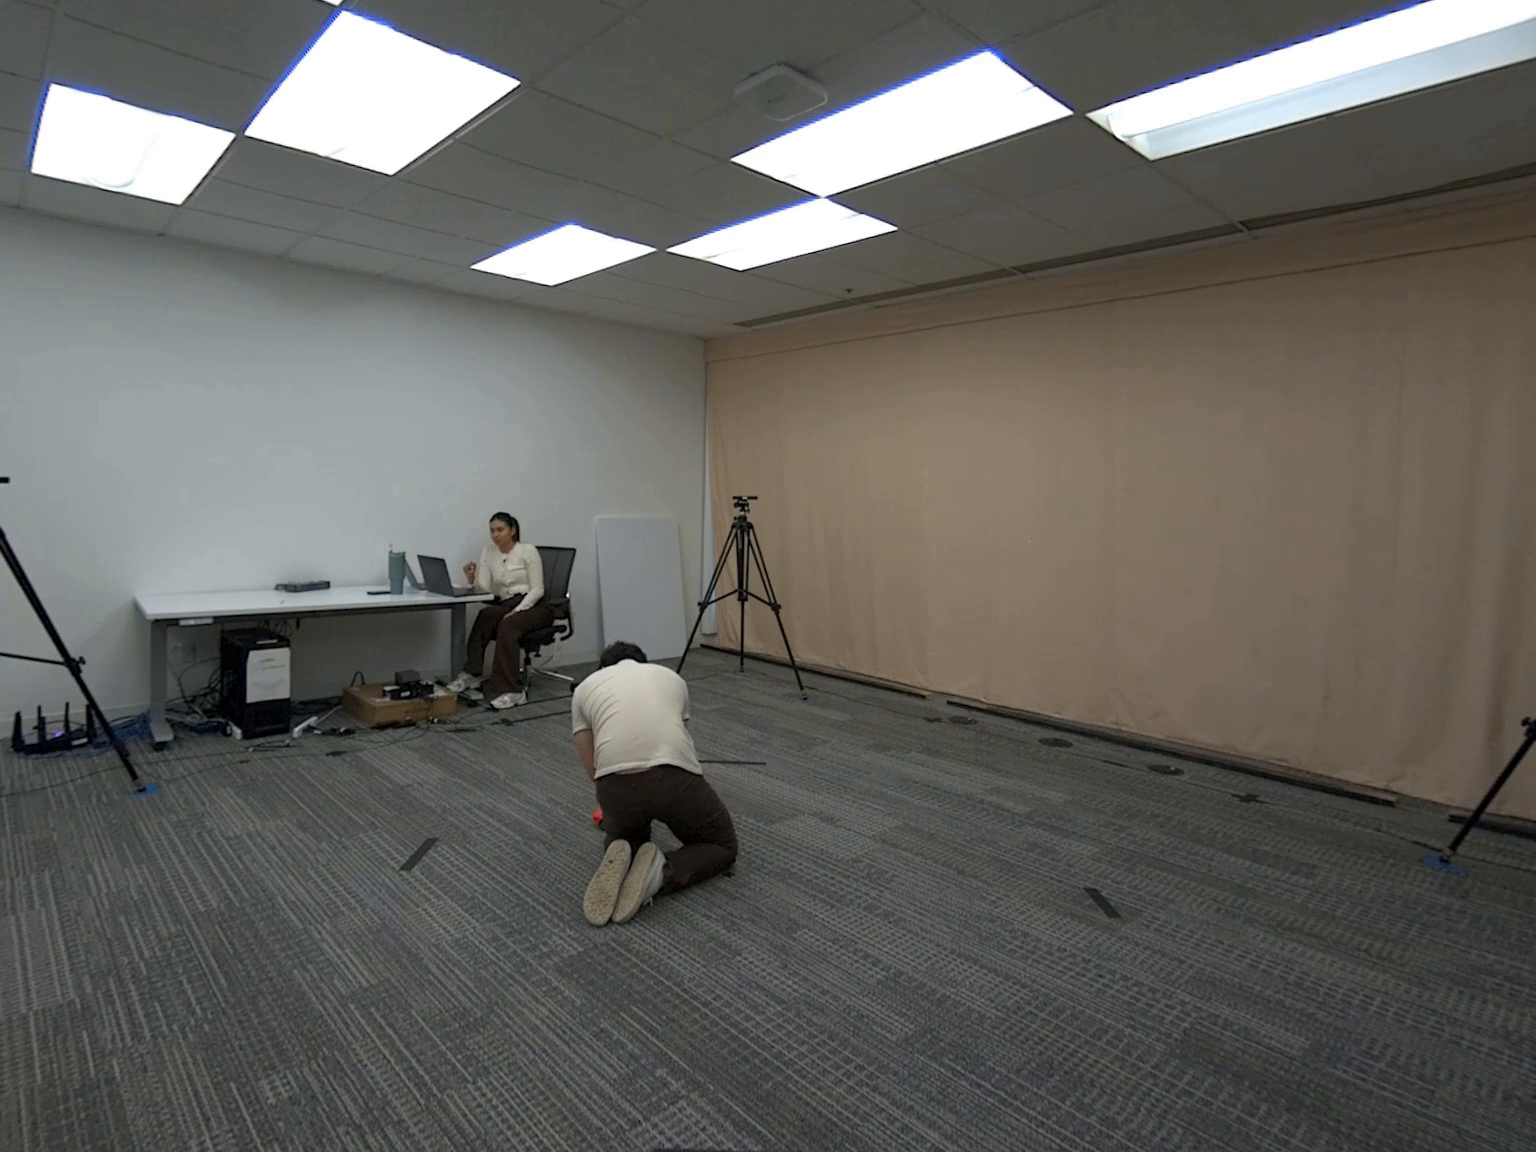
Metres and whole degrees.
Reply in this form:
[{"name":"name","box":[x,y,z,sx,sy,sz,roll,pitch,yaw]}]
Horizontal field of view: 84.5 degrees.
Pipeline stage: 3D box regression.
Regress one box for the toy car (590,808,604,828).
[{"name":"toy car","box":[-0.623,1.026,3.519,0.259,0.083,0.129,19,9,16]}]
